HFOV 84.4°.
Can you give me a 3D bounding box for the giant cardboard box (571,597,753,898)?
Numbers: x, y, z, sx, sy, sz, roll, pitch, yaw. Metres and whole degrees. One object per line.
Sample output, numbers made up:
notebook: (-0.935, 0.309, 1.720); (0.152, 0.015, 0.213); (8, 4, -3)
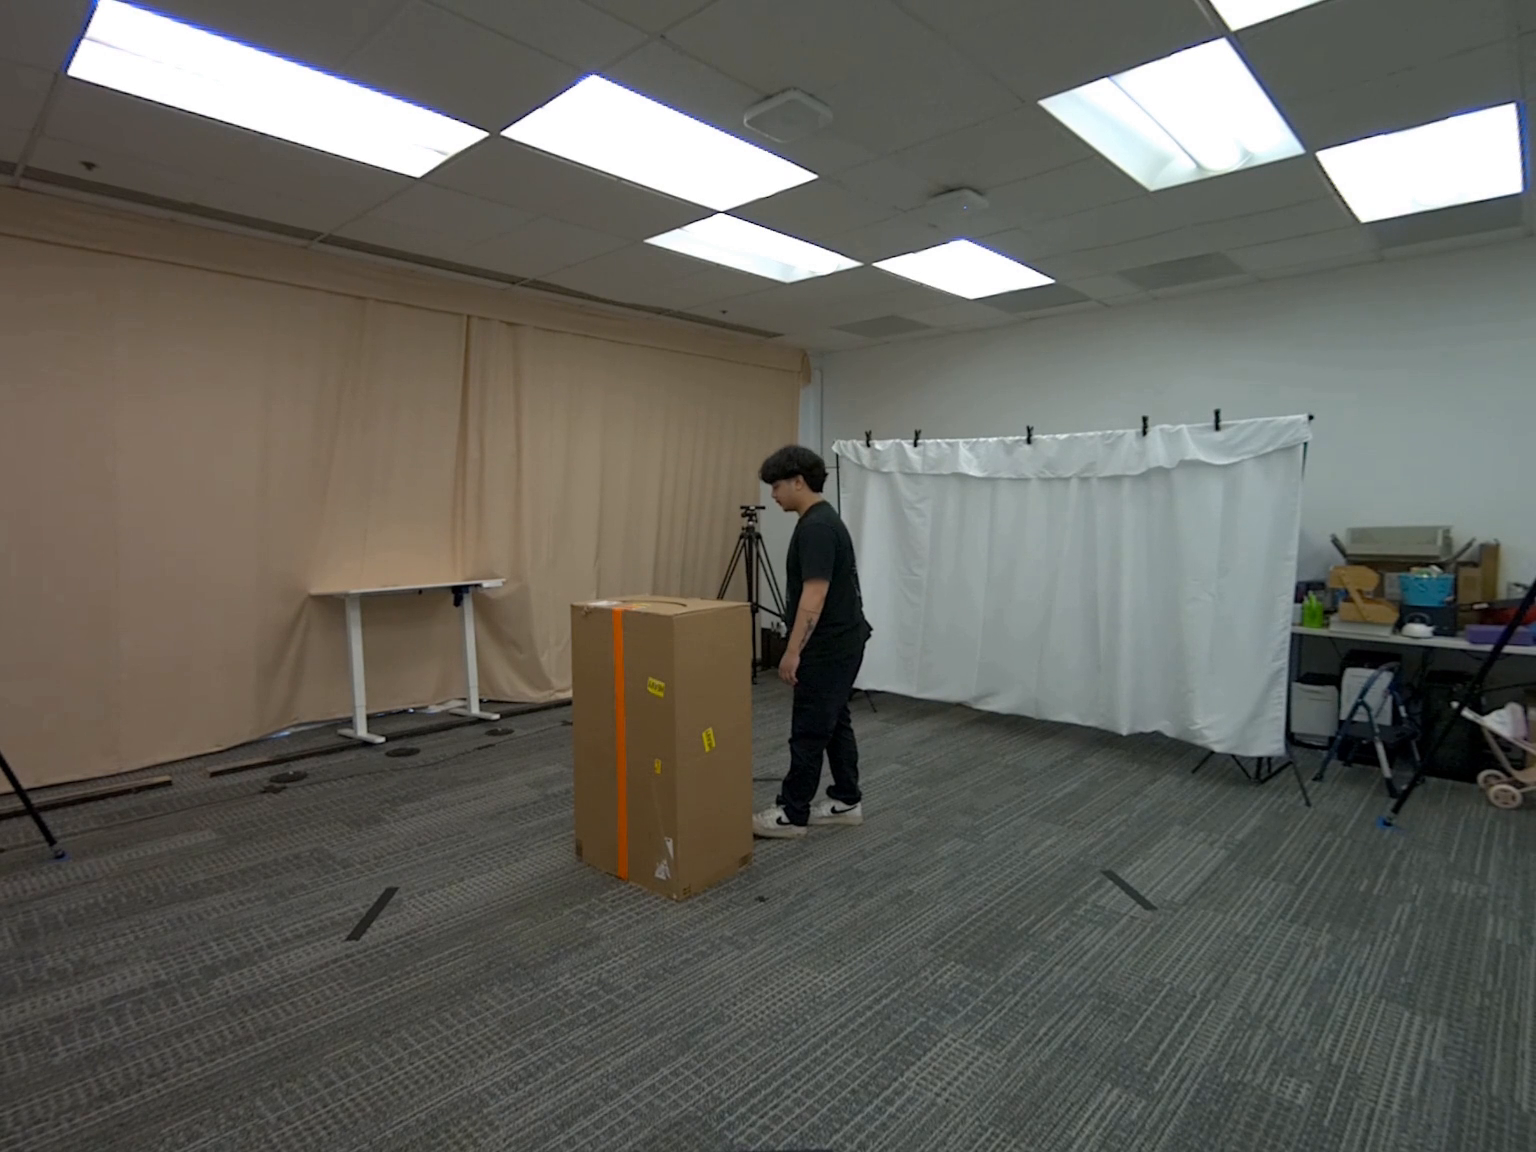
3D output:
giant cardboard box: (-0.417, 0.612, 3.280); (0.603, 1.025, 0.433); (2, 4, 41)
